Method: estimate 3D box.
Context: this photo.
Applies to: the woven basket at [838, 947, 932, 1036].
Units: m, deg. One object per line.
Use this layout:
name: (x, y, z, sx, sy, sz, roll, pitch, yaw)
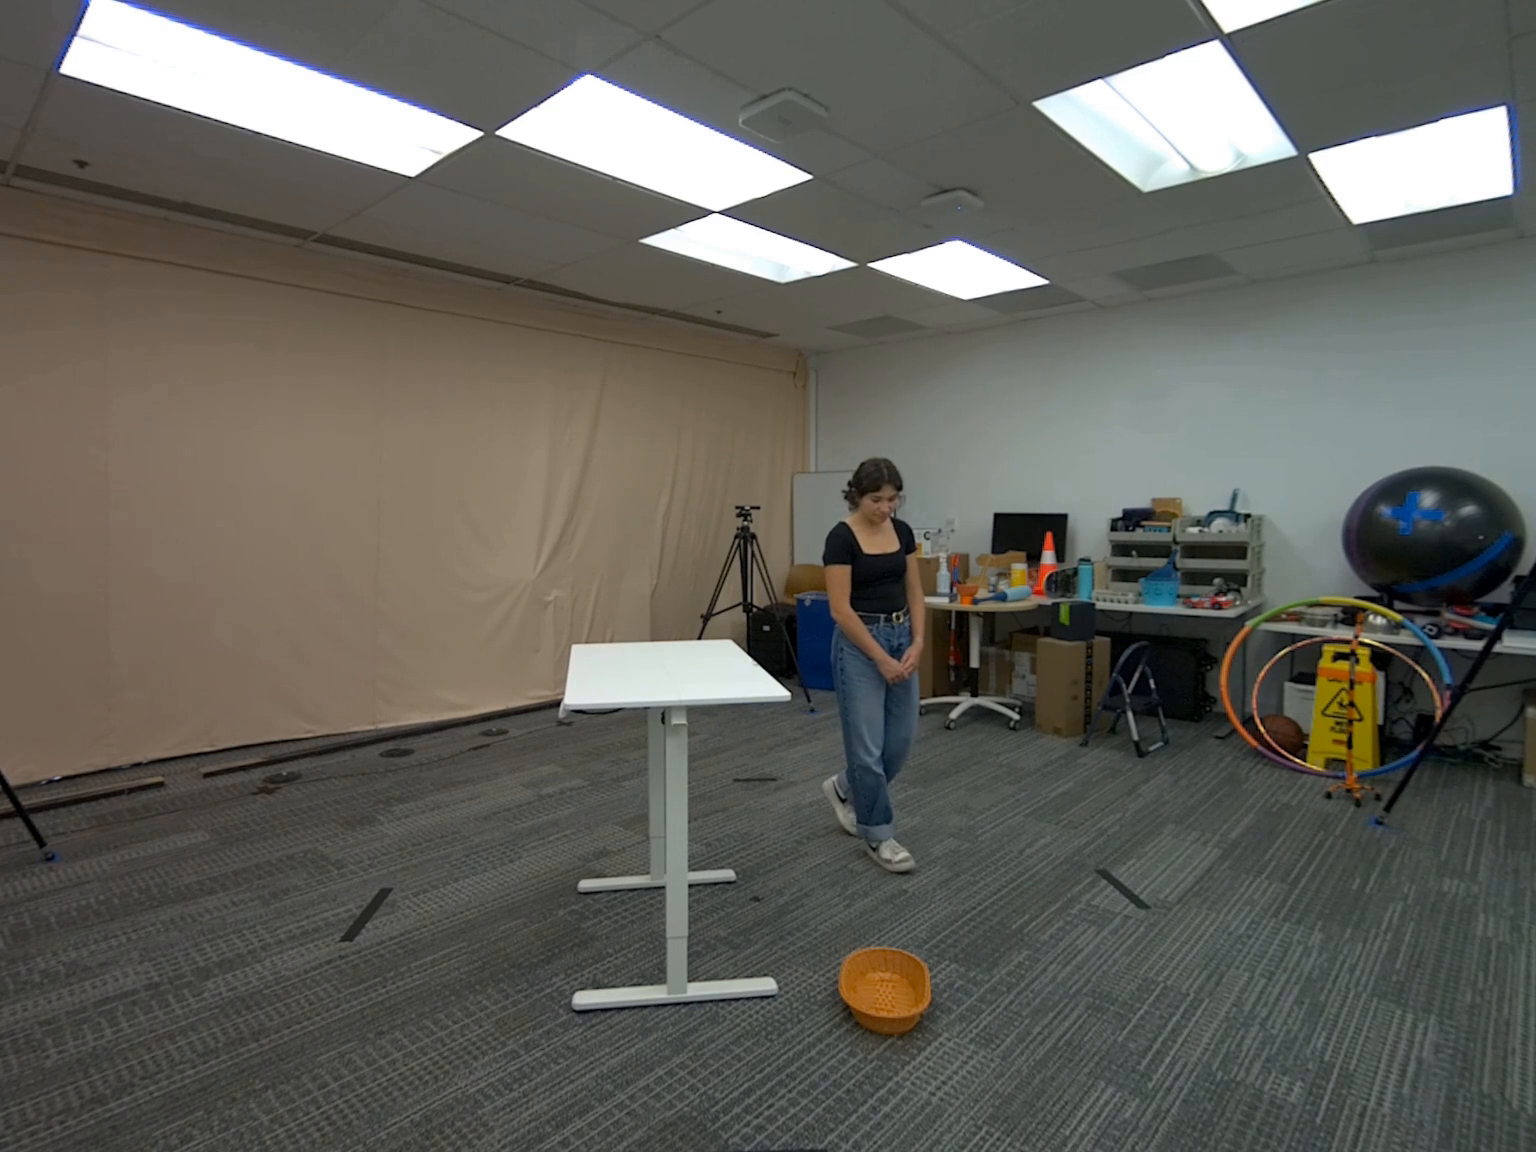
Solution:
woven basket: (0.326, 1.159, 2.353, 0.256, 0.073, 0.346, 0, 5, 12)
